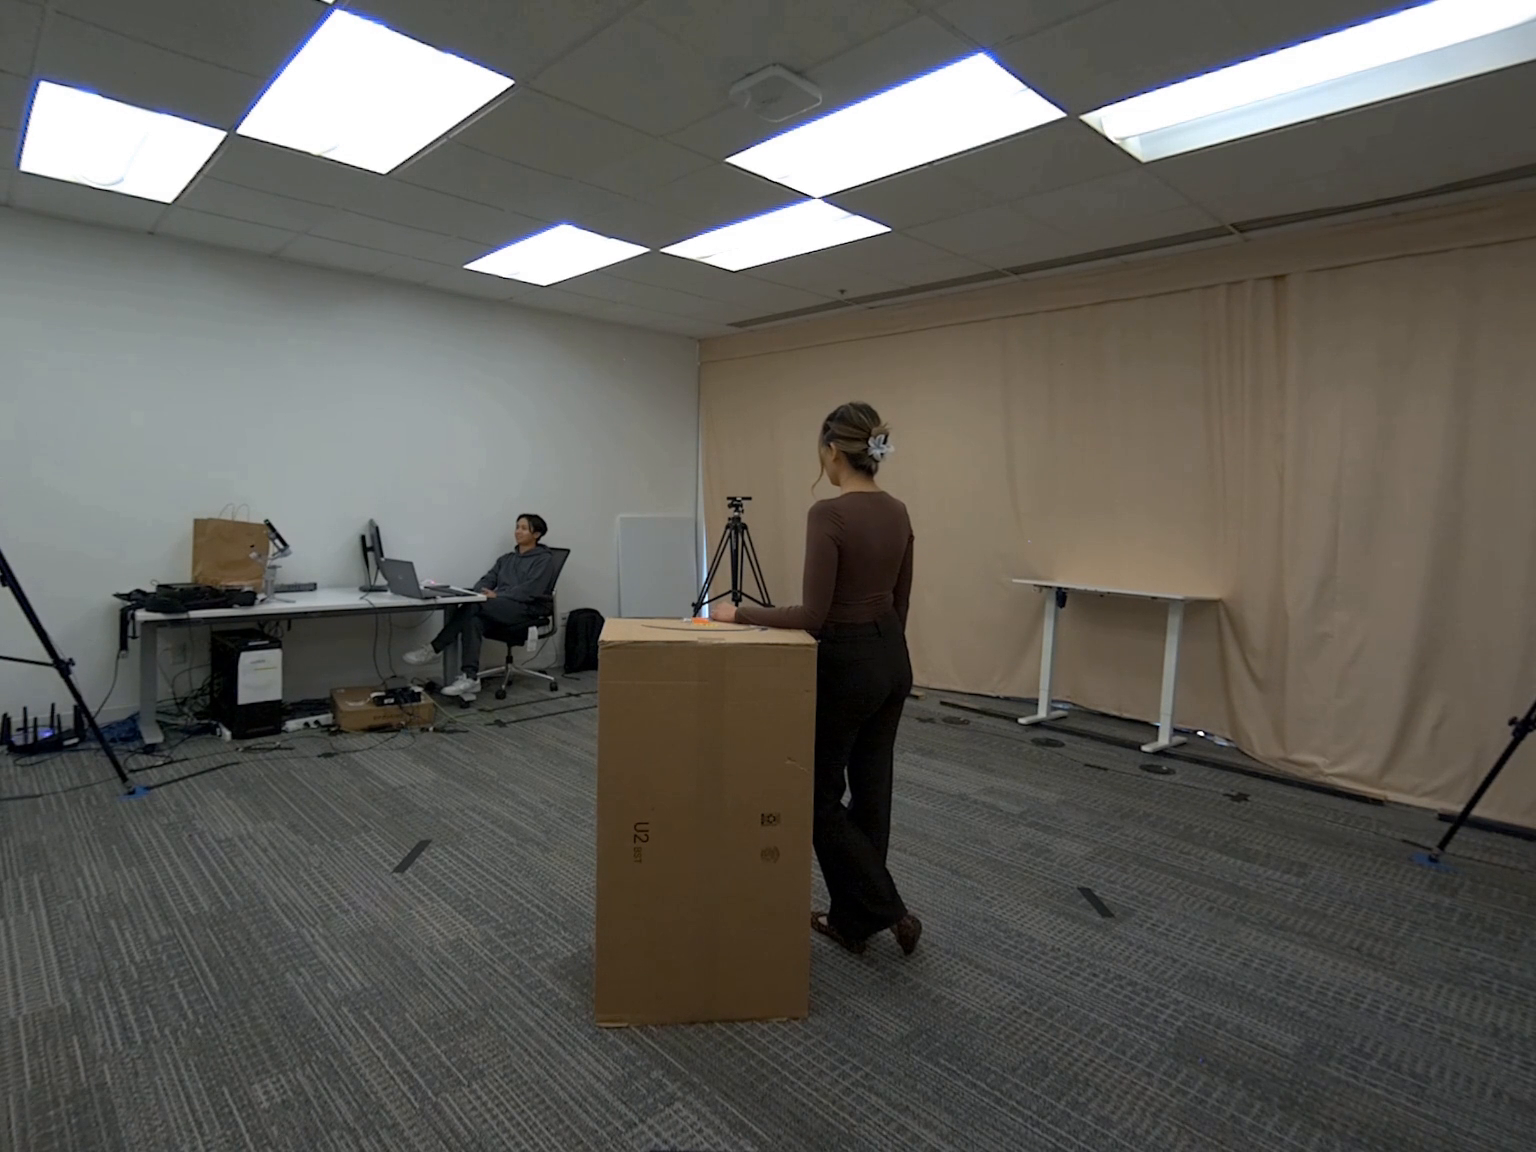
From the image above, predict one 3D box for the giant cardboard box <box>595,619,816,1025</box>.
[{"bbox_3d":[-0.202,0.662,2.409,0.580,1.024,0.450,1,3,-7],"label":"giant cardboard box"}]
